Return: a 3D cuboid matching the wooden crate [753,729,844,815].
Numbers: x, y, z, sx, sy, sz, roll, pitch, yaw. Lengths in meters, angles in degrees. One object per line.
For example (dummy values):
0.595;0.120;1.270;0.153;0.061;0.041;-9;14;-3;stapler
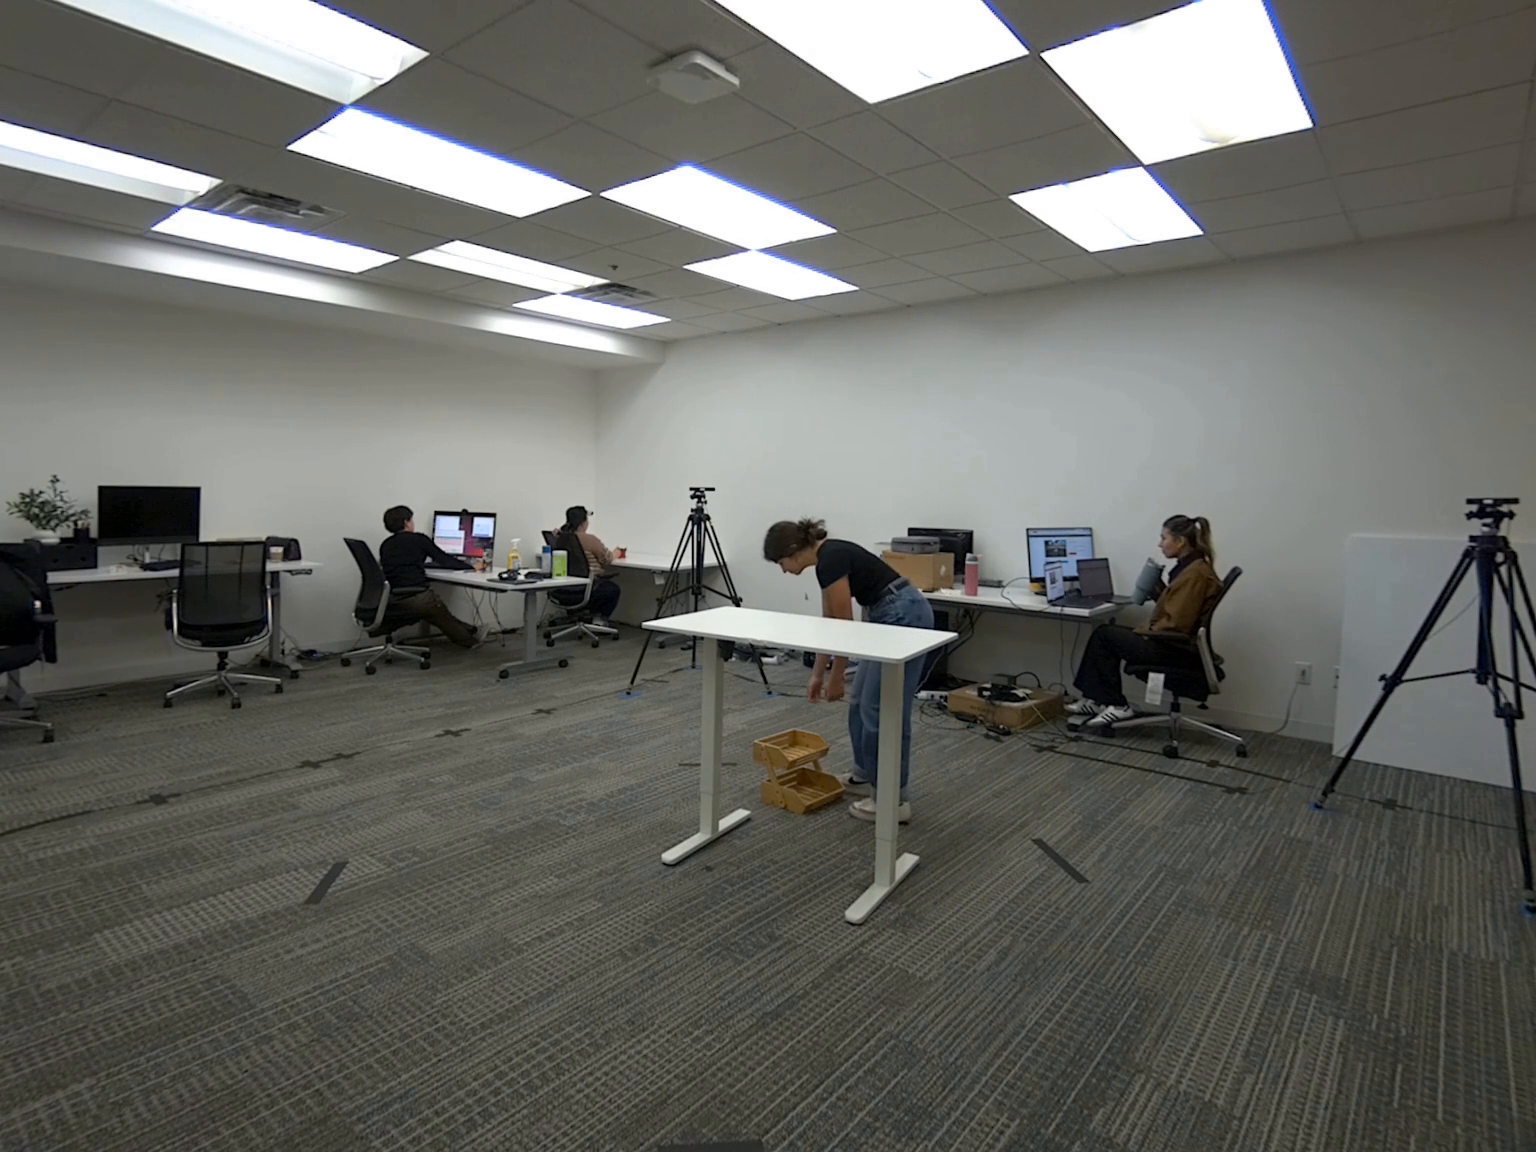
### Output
0.133;0.870;3.841;0.312;0.273;0.315;4;5;41;wooden crate
